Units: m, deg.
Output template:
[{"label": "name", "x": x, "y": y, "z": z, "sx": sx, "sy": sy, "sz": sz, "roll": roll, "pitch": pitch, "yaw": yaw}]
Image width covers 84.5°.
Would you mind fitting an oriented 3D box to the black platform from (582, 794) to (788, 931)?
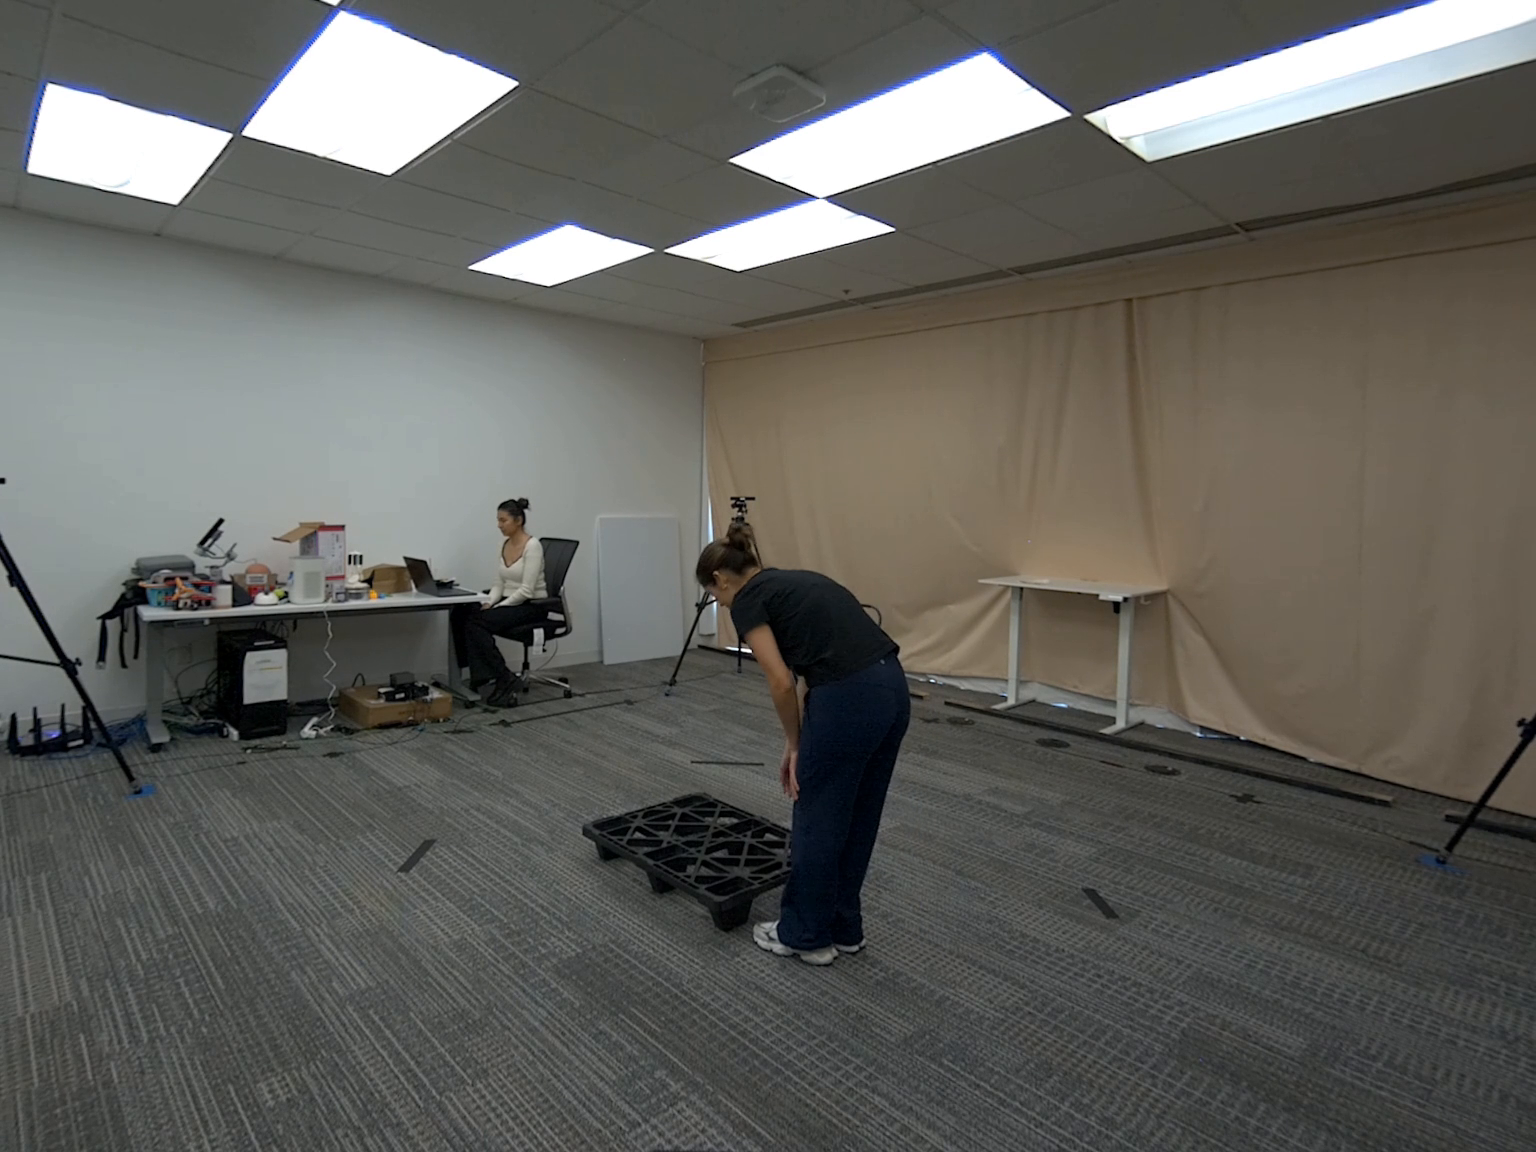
[{"label": "black platform", "x": -0.229, "y": 1.041, "z": 3.102, "sx": 0.592, "sy": 0.143, "sz": 0.826, "roll": -5, "pitch": 8, "yaw": -43}]
